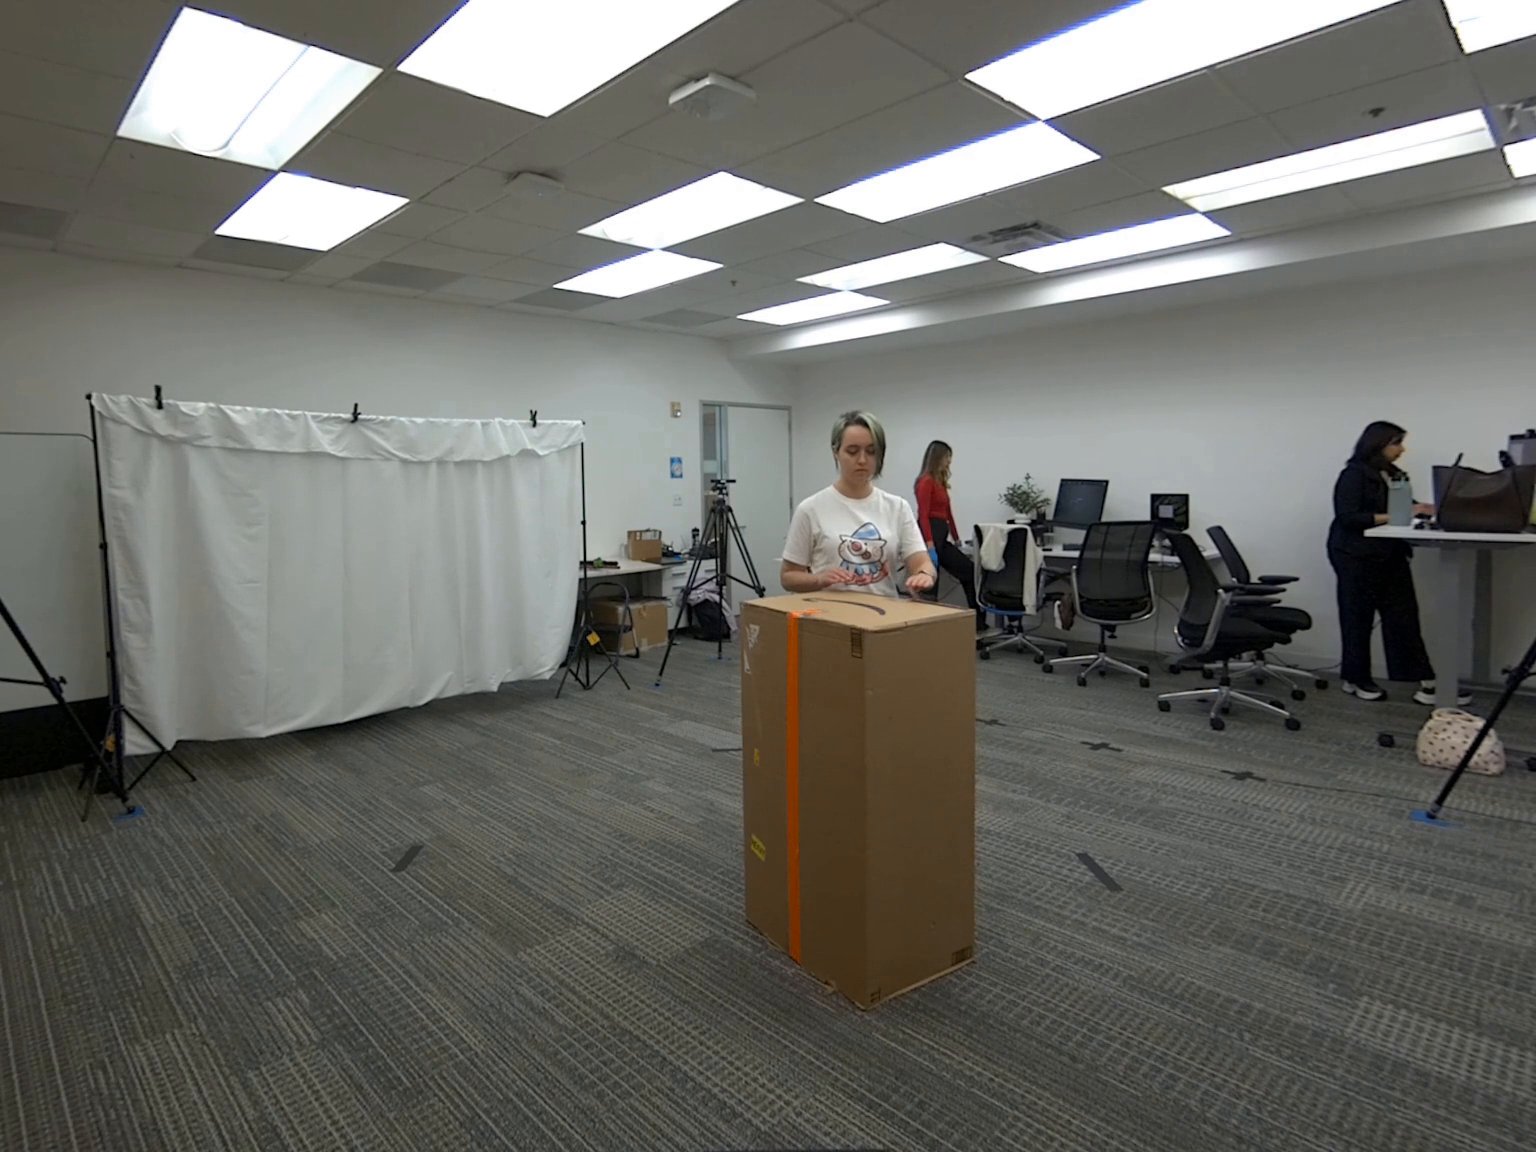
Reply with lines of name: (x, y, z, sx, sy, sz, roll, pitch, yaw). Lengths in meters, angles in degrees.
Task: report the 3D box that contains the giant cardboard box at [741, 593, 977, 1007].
giant cardboard box: (0.254, 0.599, 2.548, 0.435, 1.023, 0.601, -3, 5, -35)
